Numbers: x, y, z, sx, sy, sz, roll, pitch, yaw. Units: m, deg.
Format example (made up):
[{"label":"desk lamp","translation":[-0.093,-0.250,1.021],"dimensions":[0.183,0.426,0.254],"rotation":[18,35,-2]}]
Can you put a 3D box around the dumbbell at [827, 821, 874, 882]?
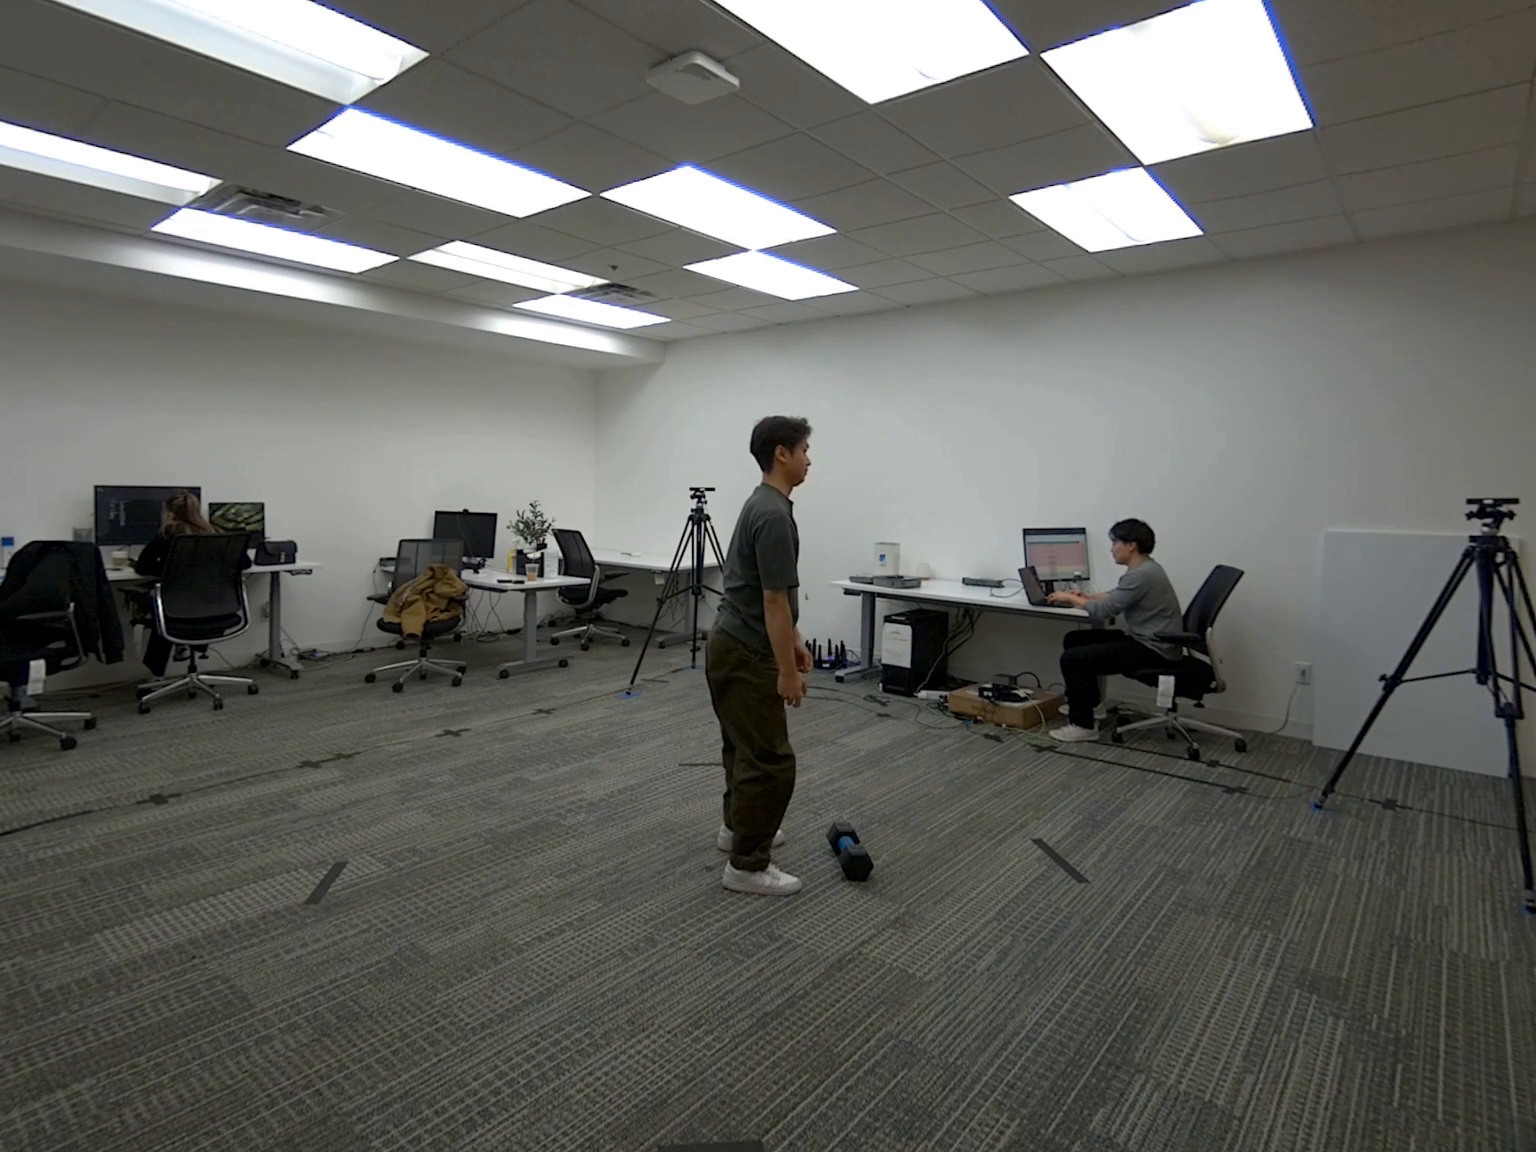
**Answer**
[{"label":"dumbbell","translation":[0.297,1.023,3.169],"dimensions":[0.108,0.122,0.297],"rotation":[-29,8,-3]}]
